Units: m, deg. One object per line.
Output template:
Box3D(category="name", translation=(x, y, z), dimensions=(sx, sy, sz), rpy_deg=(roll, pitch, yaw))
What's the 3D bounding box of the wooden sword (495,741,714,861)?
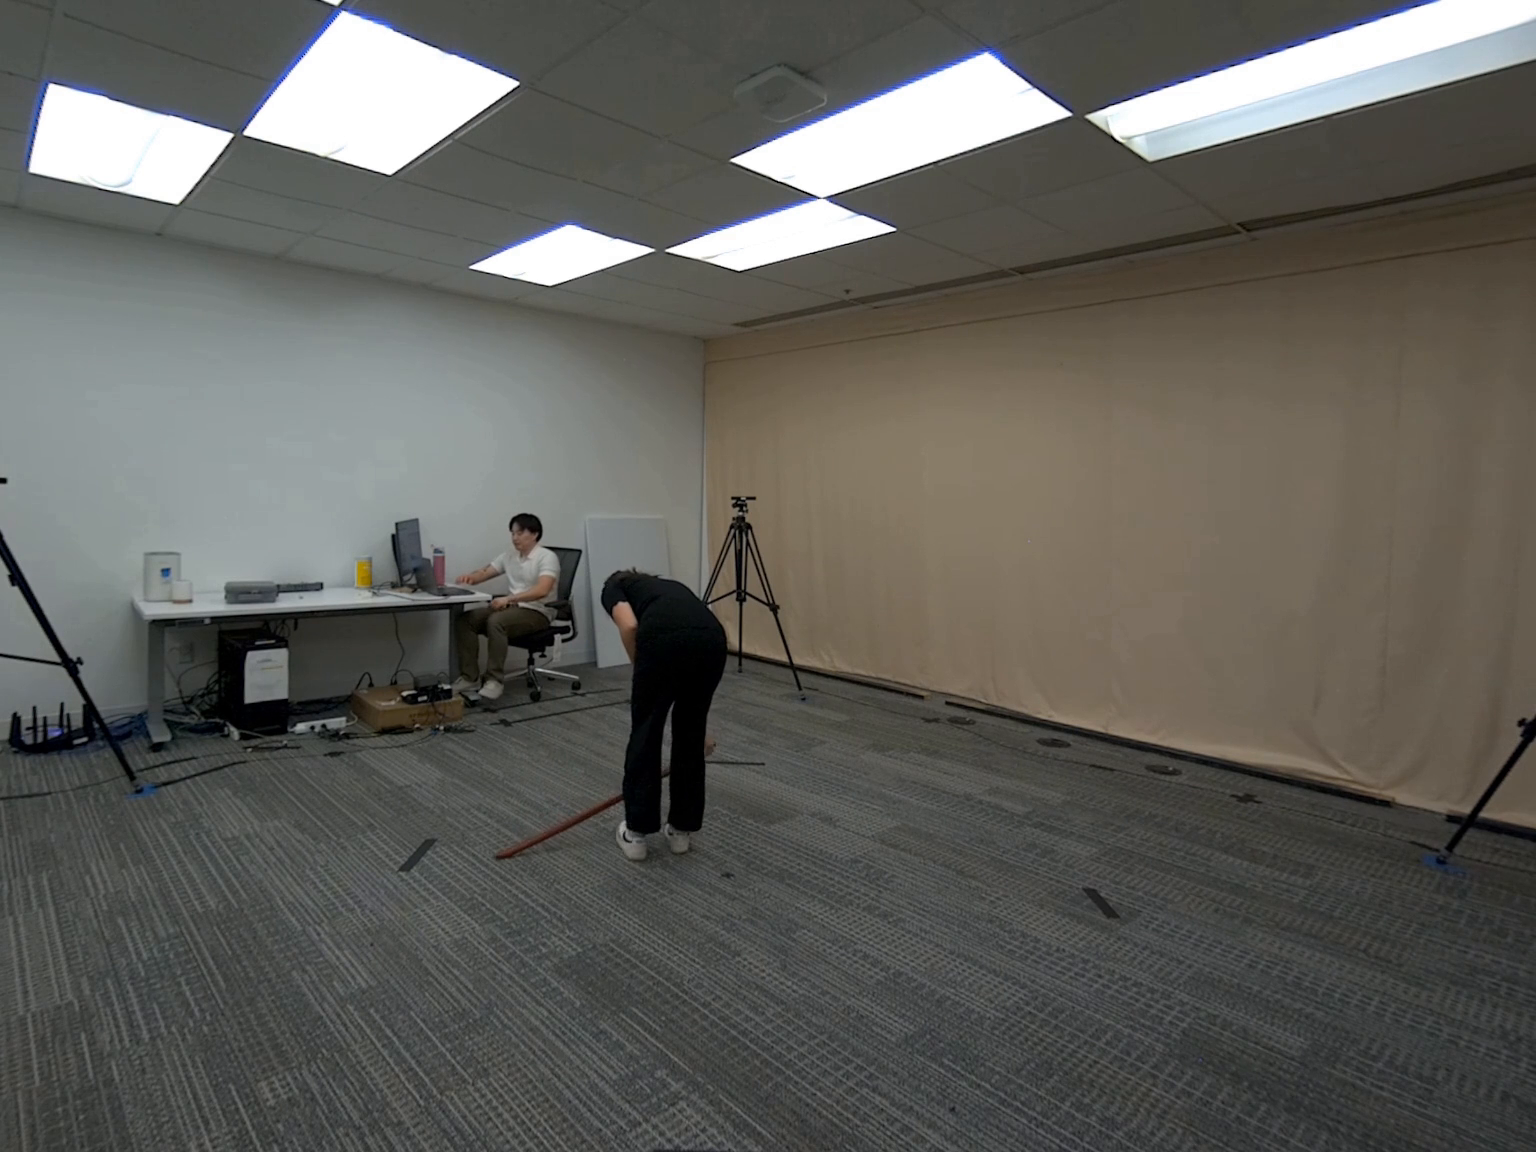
Box3D(category="wooden sword", translation=(-0.641, 0.911, 3.441), dimensions=(1.011, 0.051, 0.024), rpy_deg=(-21, 4, -31))
